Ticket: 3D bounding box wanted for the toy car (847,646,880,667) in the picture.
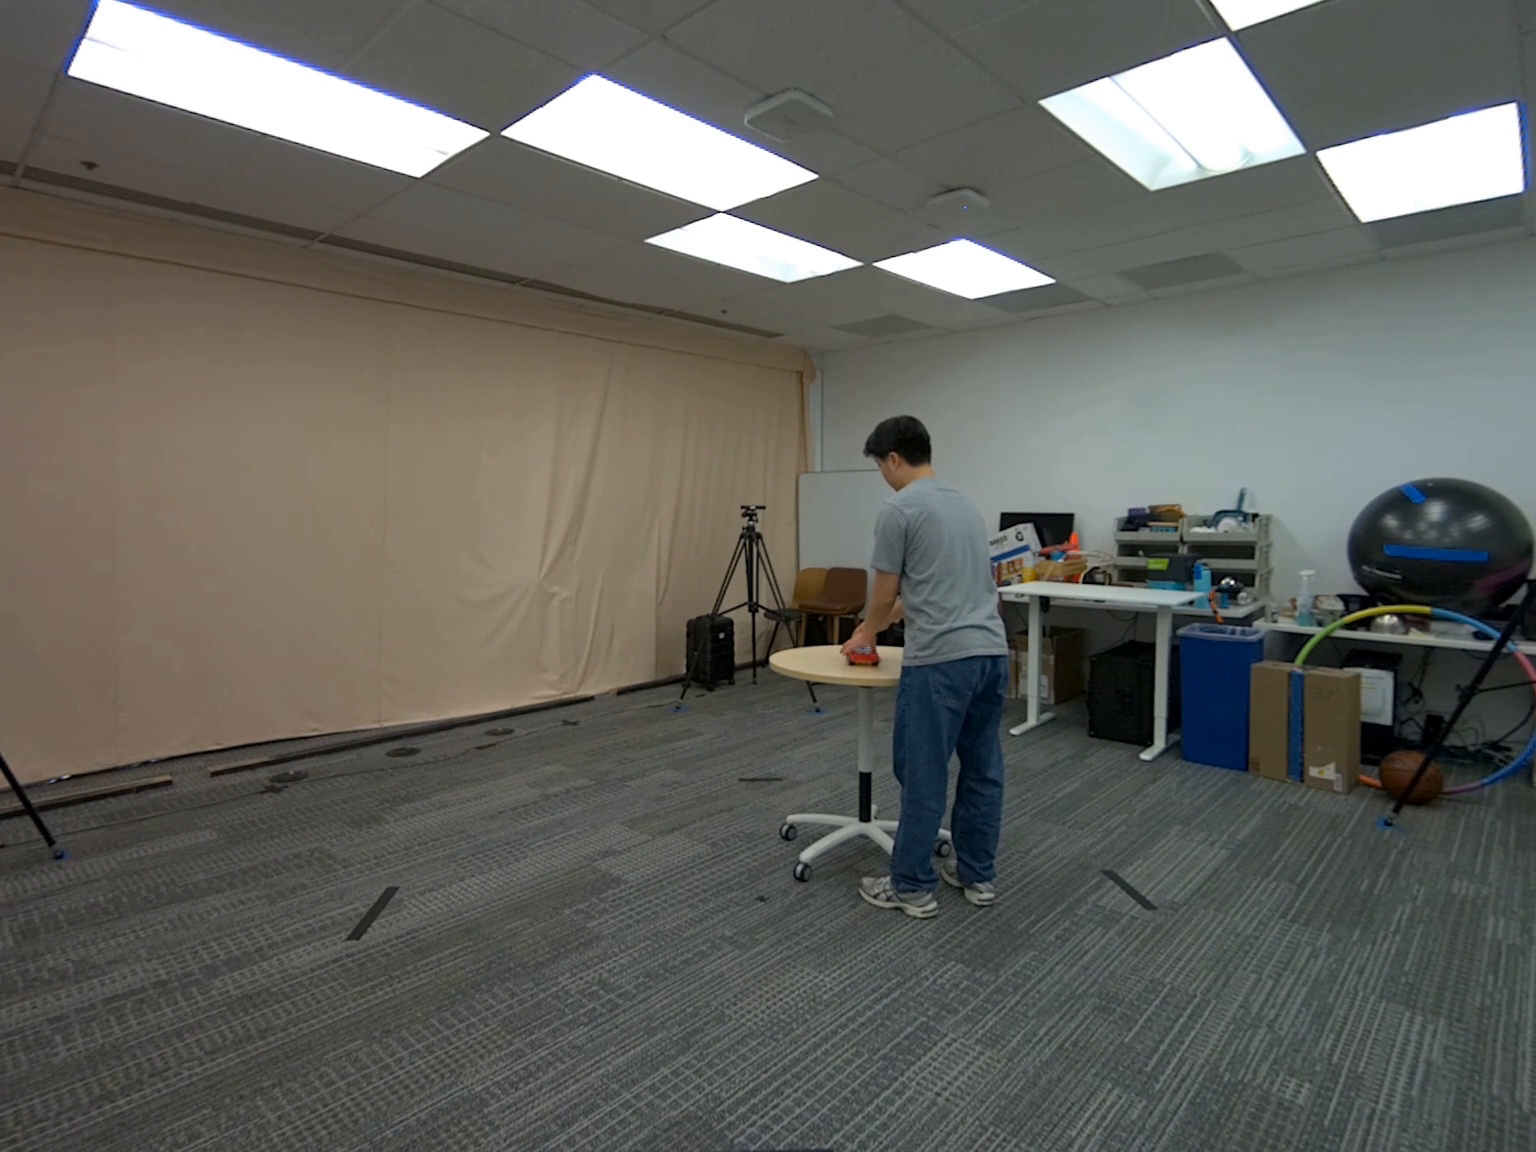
[{"bbox_3d":[0.375,0.303,3.297,0.131,0.082,0.256,2,16,3],"label":"toy car"}]
